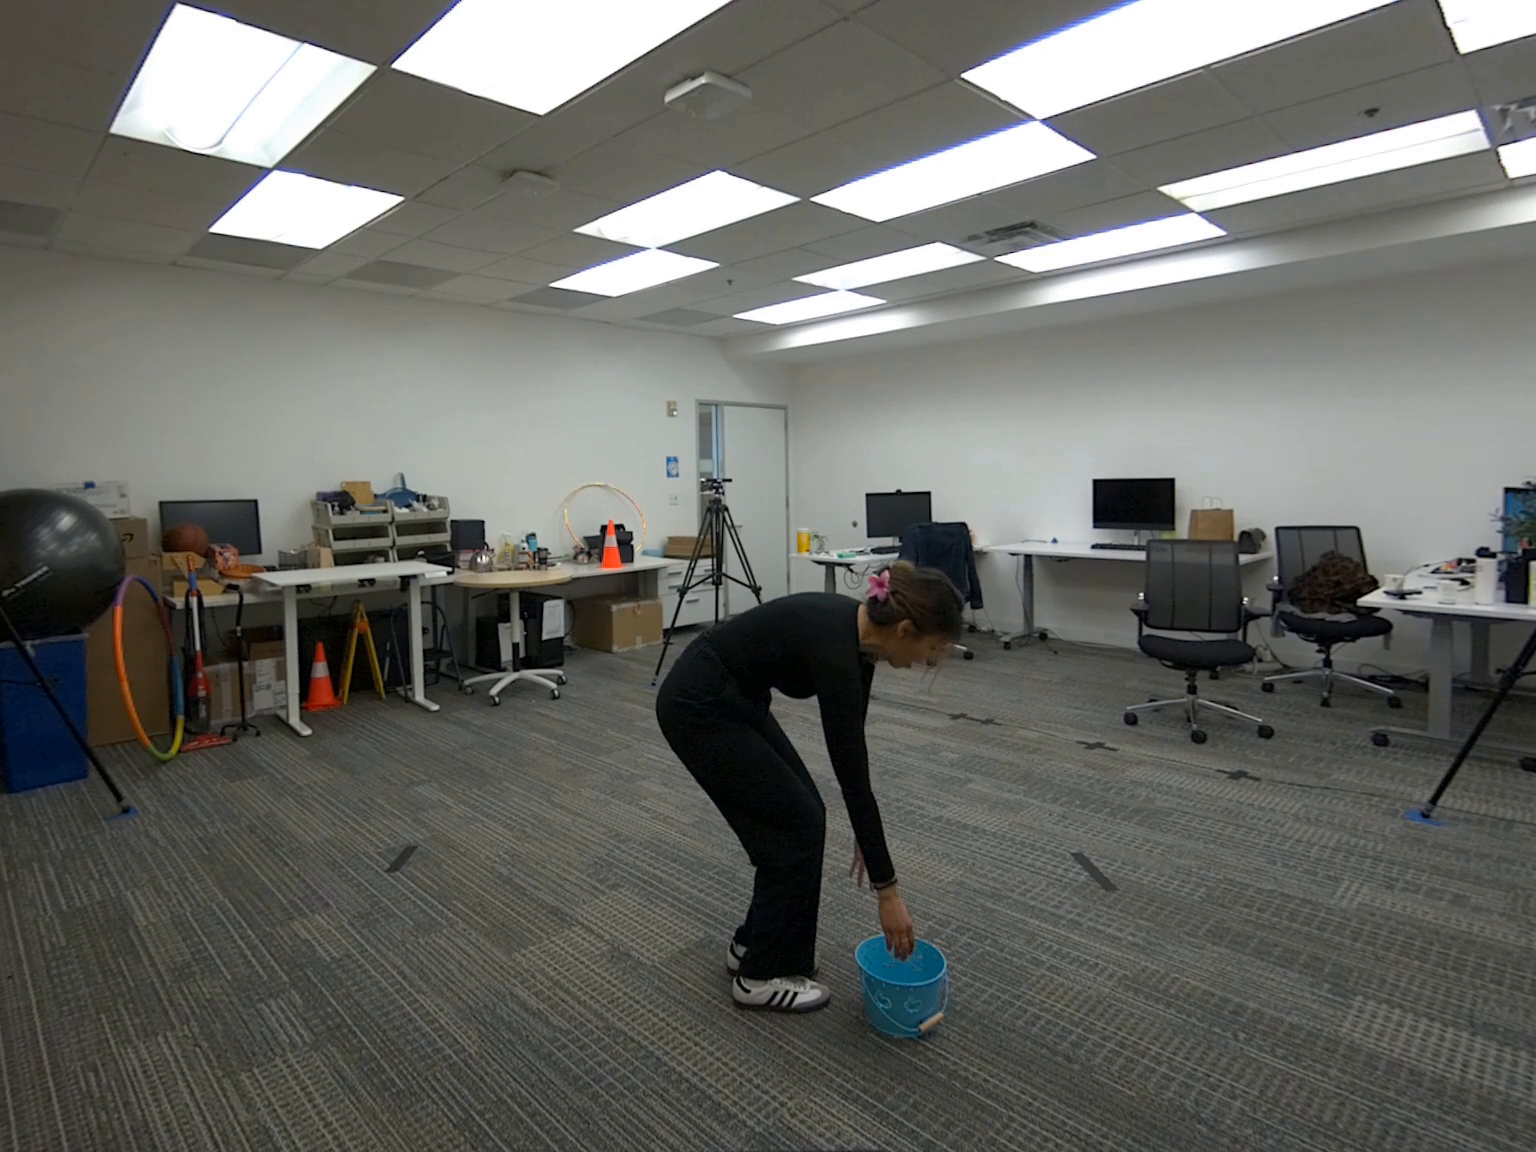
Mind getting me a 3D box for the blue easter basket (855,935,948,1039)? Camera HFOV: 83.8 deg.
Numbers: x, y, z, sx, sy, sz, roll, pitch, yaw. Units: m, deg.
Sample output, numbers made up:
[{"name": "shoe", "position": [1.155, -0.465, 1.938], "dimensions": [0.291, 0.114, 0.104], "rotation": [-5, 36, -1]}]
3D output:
[{"name": "blue easter basket", "position": [0.342, 1.059, 2.208], "dimensions": [0.243, 0.155, 0.245], "rotation": [-1, 6, -2]}]
